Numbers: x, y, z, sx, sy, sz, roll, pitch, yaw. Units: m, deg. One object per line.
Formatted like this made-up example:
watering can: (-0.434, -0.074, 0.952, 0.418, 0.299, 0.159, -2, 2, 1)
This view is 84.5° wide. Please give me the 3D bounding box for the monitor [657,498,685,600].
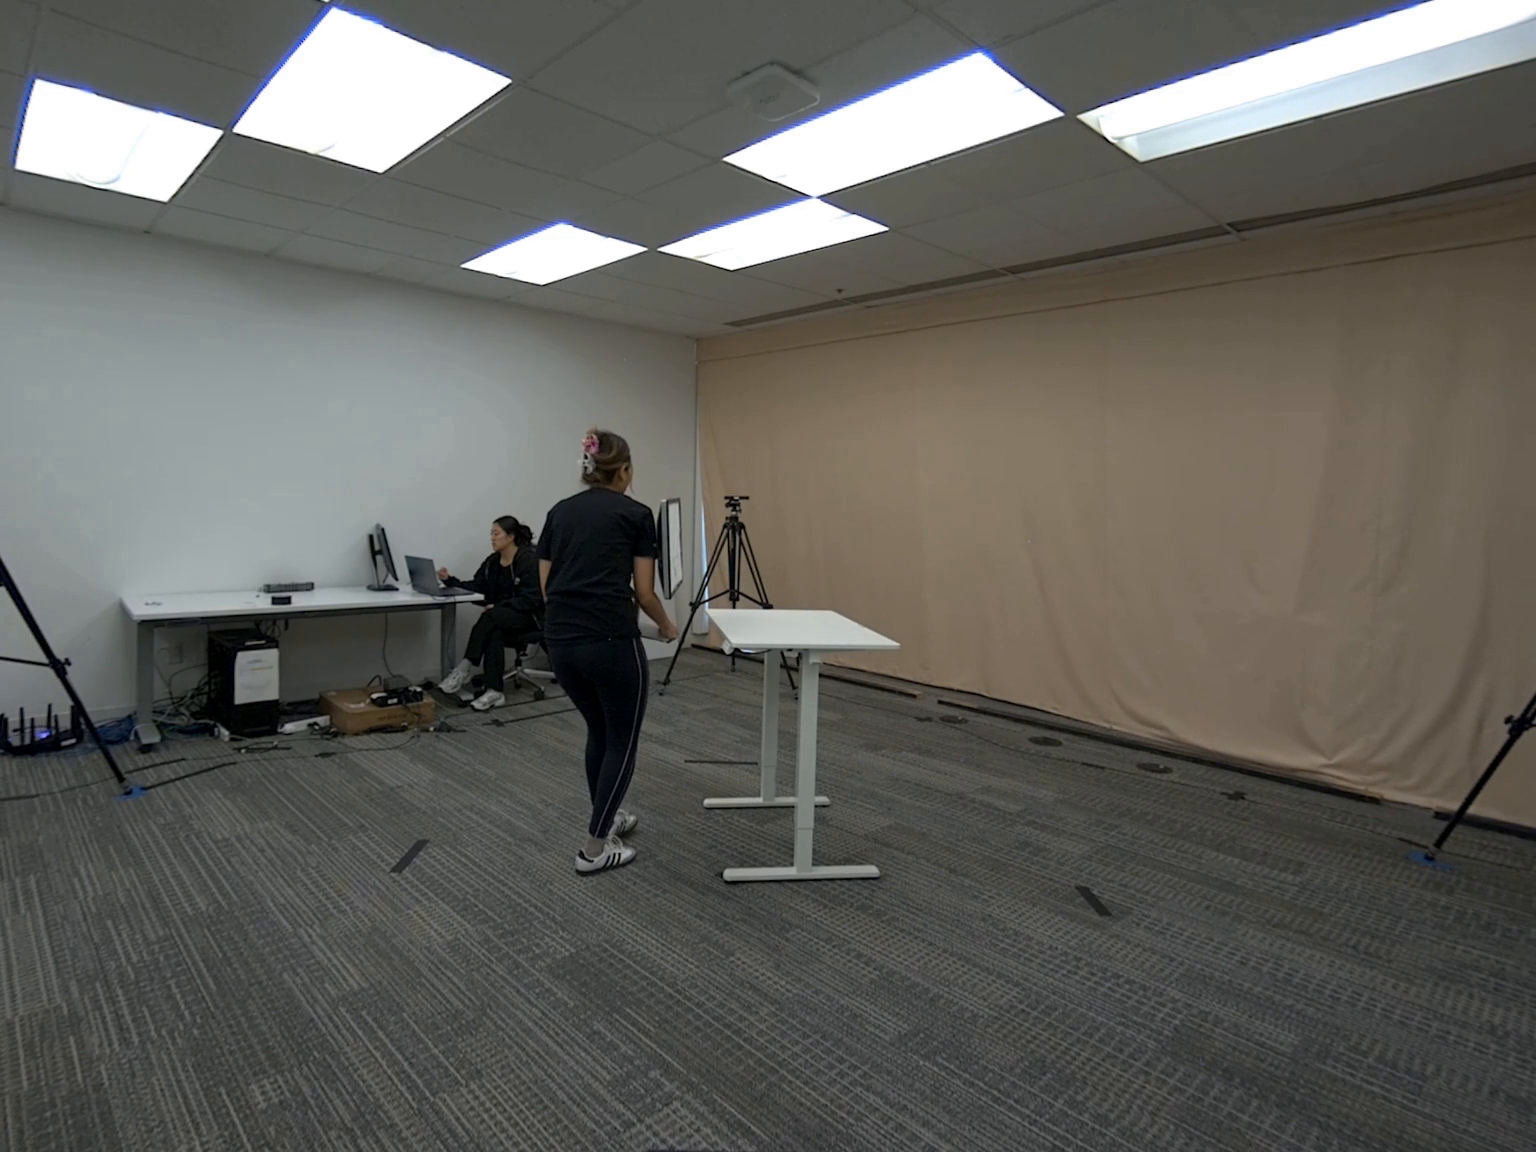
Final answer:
monitor: (-0.439, -0.038, 3.325, 0.186, 0.521, 0.542, 11, 5, -4)
